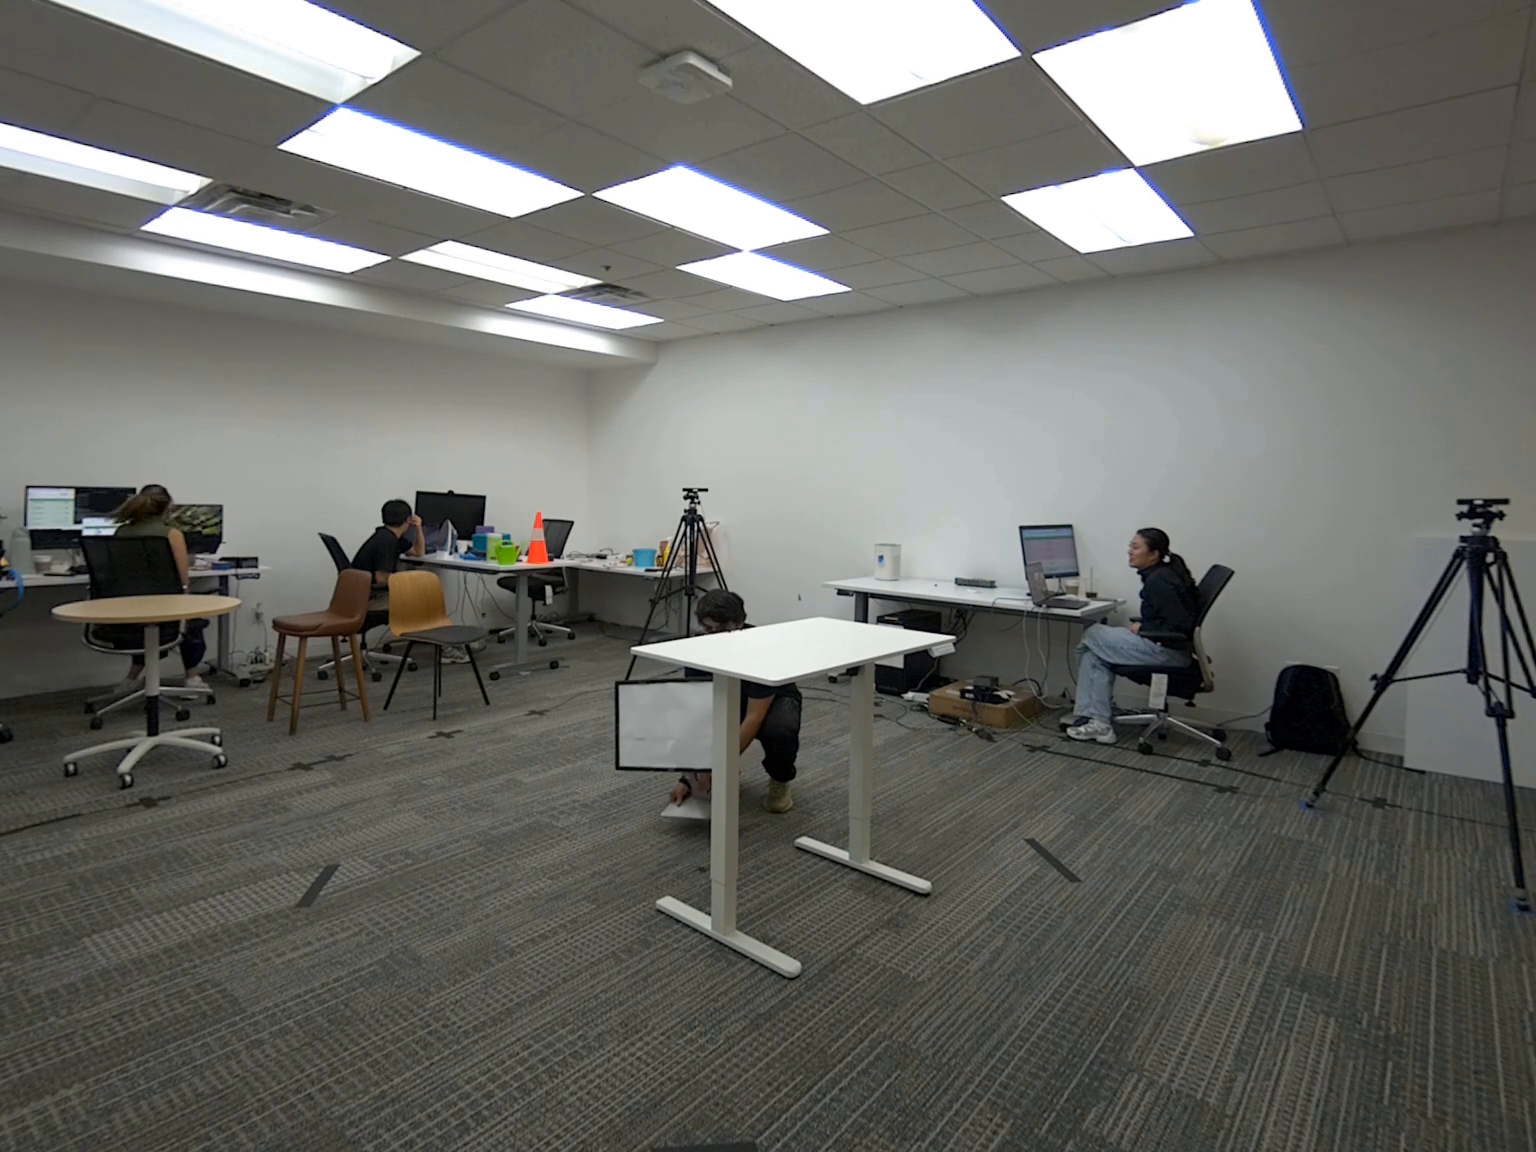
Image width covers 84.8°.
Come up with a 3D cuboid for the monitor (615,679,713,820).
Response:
[{"bbox_3d":[-0.362,0.673,3.459,0.579,0.556,0.204,-8,-3,31],"label":"monitor"}]
